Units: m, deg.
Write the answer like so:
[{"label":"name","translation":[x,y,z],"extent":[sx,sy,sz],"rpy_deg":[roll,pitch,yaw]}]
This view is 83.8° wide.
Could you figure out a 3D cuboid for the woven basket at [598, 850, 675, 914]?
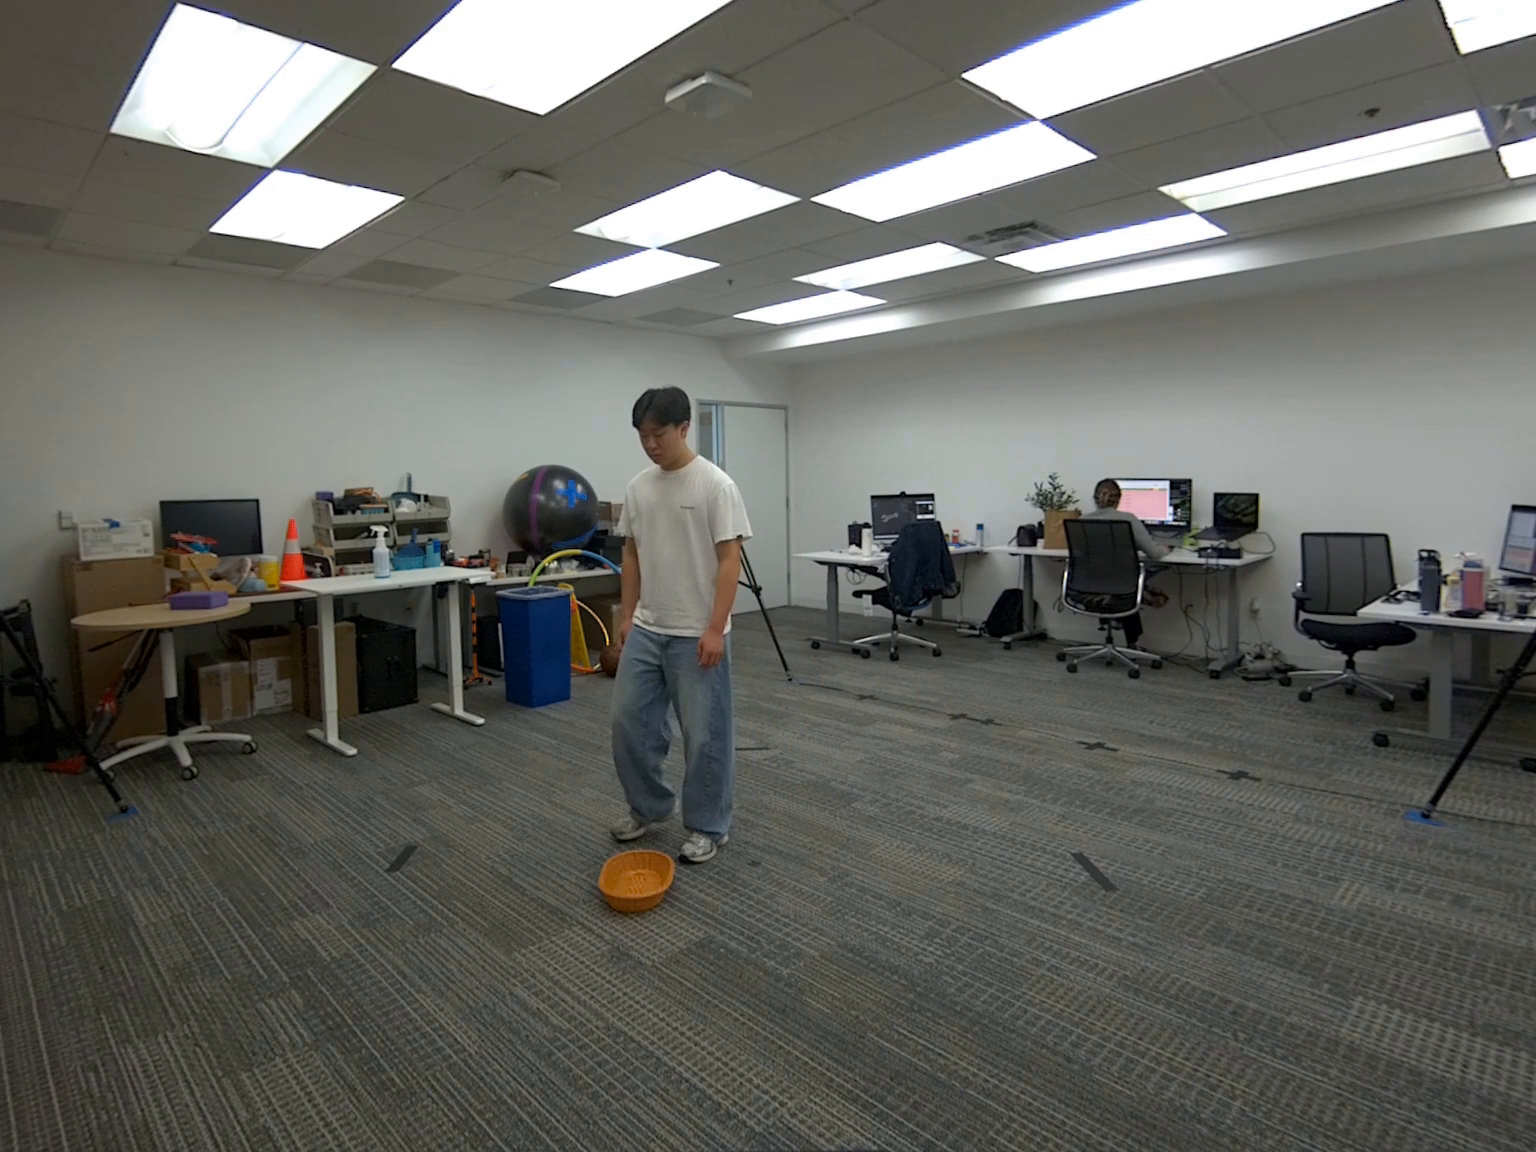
[{"label":"woven basket","translation":[-0.447,1.038,2.904],"extent":[0.253,0.073,0.351],"rpy_deg":[-1,7,3]}]
